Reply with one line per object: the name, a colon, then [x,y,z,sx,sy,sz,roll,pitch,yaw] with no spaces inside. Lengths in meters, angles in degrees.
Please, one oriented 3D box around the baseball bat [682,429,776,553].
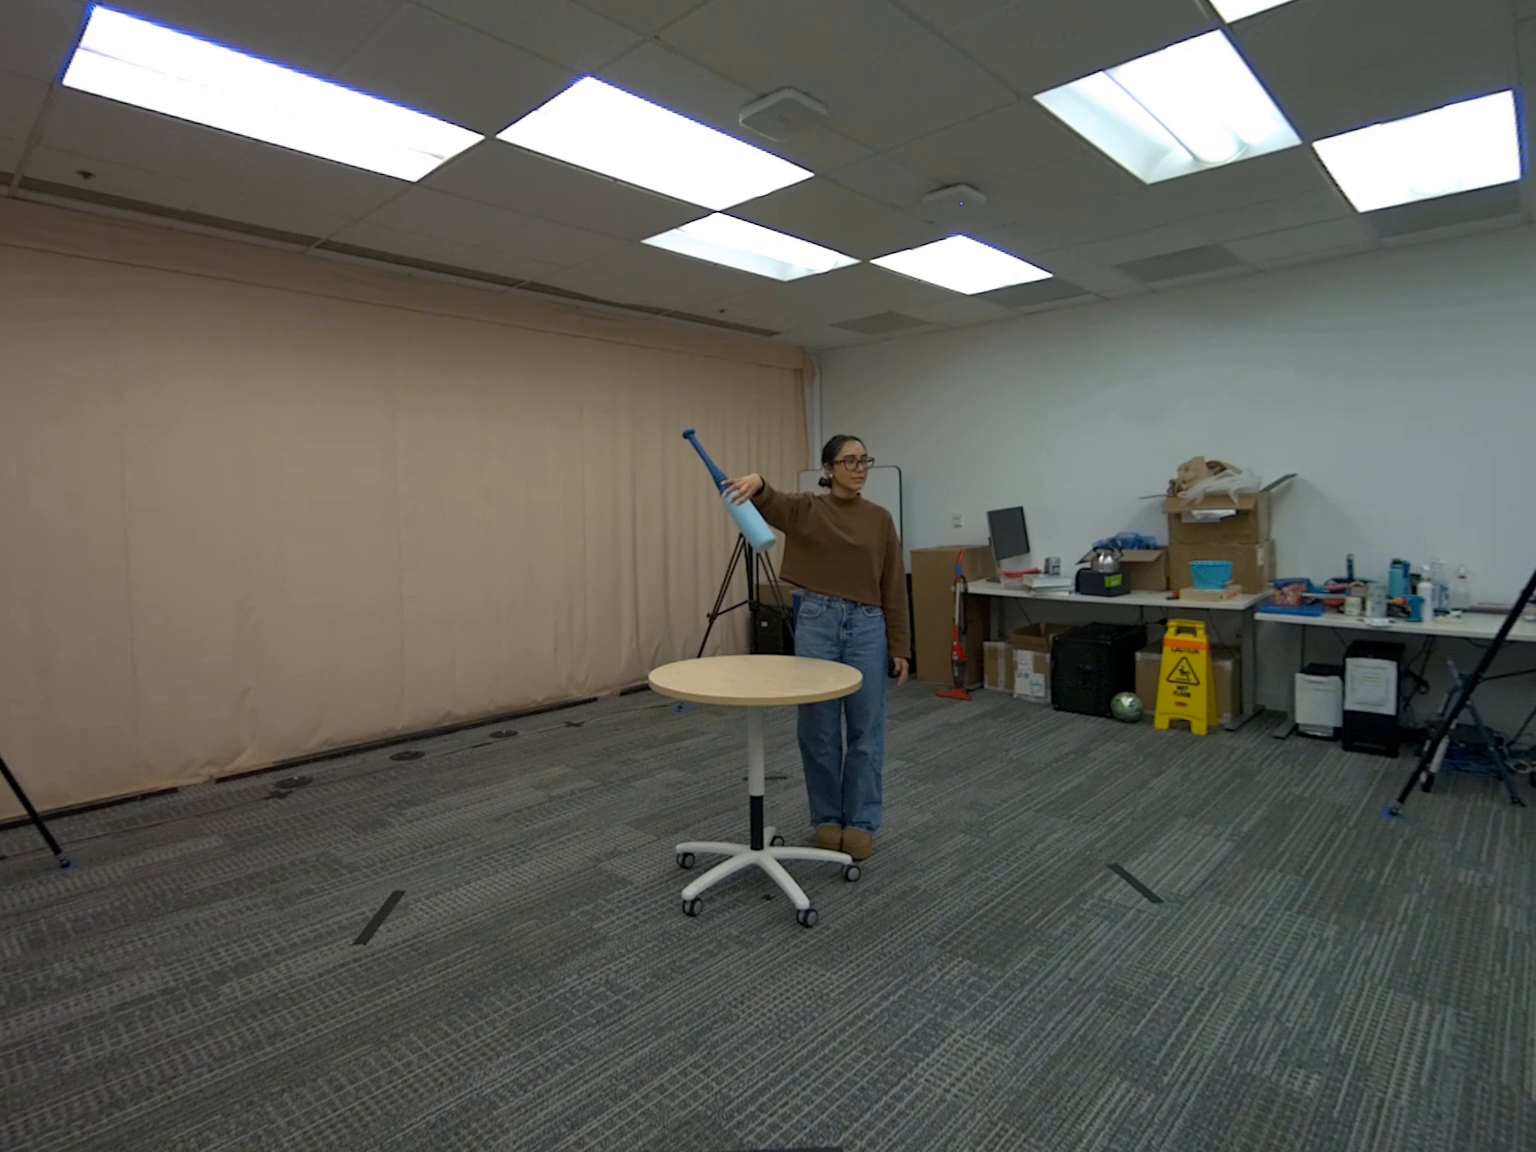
baseball bat: [-0.142,-0.312,2.985,0.088,0.553,0.088,-32,-17,-12]
